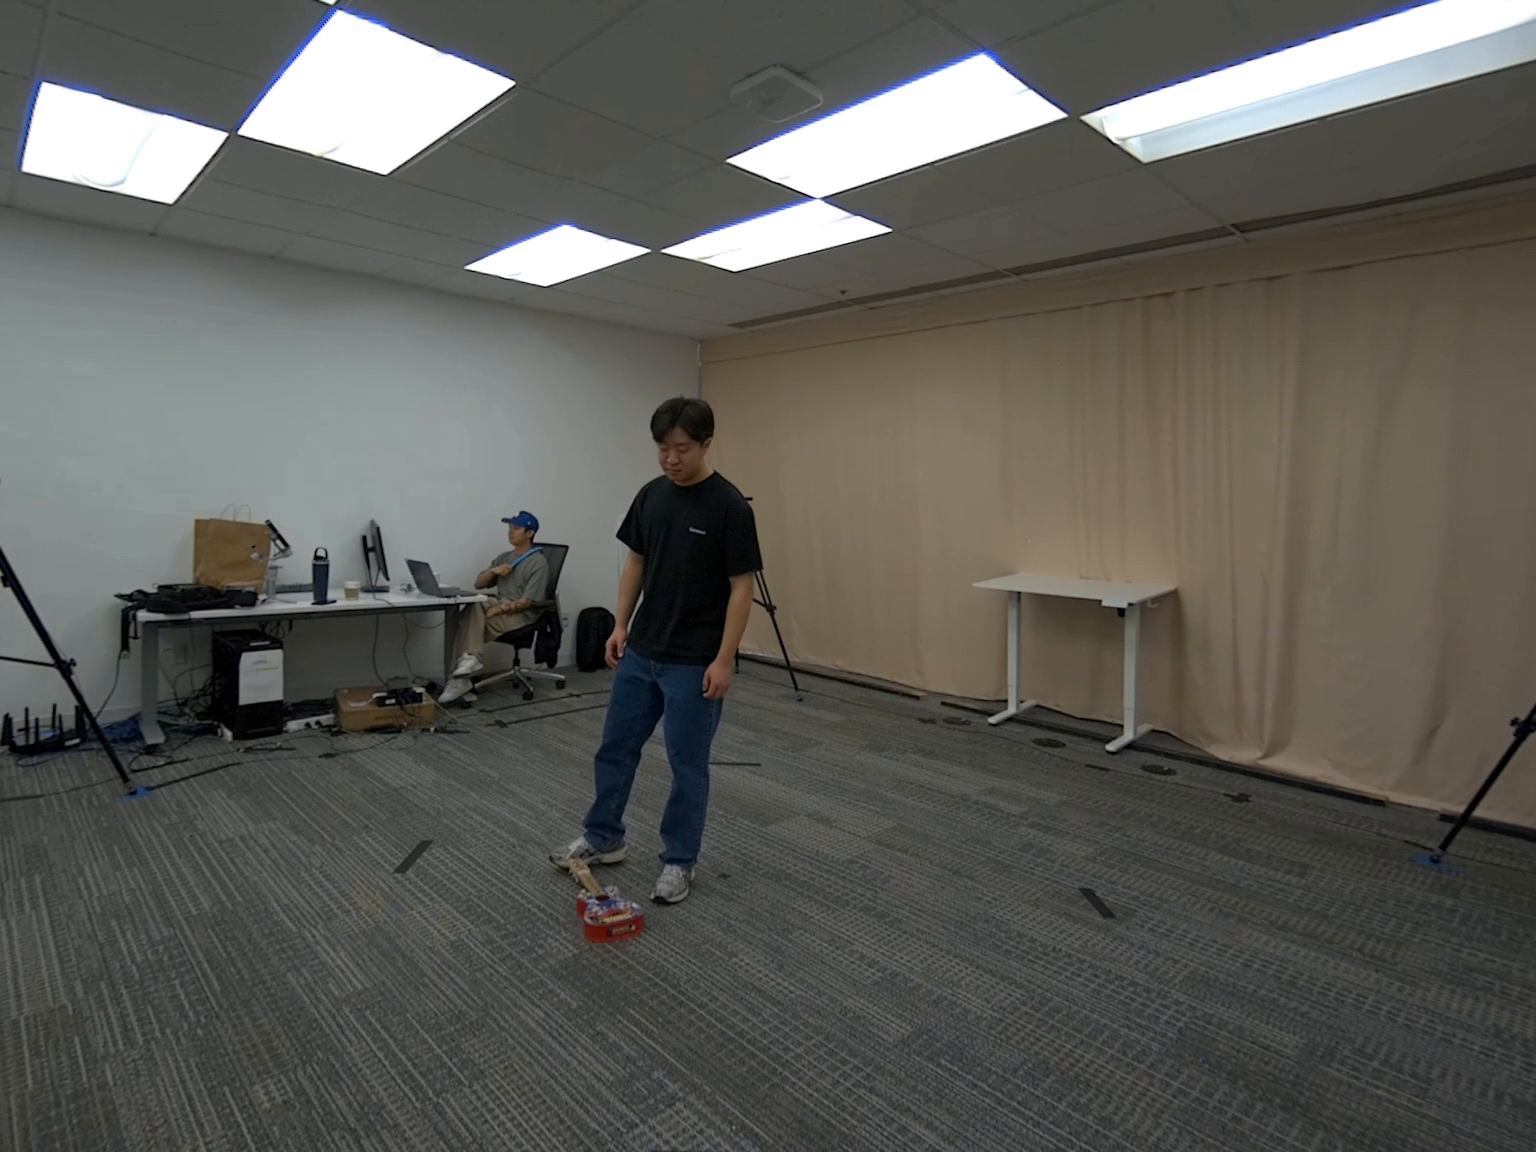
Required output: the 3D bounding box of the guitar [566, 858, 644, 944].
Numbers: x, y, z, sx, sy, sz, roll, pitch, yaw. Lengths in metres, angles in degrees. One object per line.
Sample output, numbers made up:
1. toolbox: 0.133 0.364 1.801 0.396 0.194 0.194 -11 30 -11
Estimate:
1. guitar: -0.565 1.087 2.854 0.190 0.070 0.507 -2 7 -21
